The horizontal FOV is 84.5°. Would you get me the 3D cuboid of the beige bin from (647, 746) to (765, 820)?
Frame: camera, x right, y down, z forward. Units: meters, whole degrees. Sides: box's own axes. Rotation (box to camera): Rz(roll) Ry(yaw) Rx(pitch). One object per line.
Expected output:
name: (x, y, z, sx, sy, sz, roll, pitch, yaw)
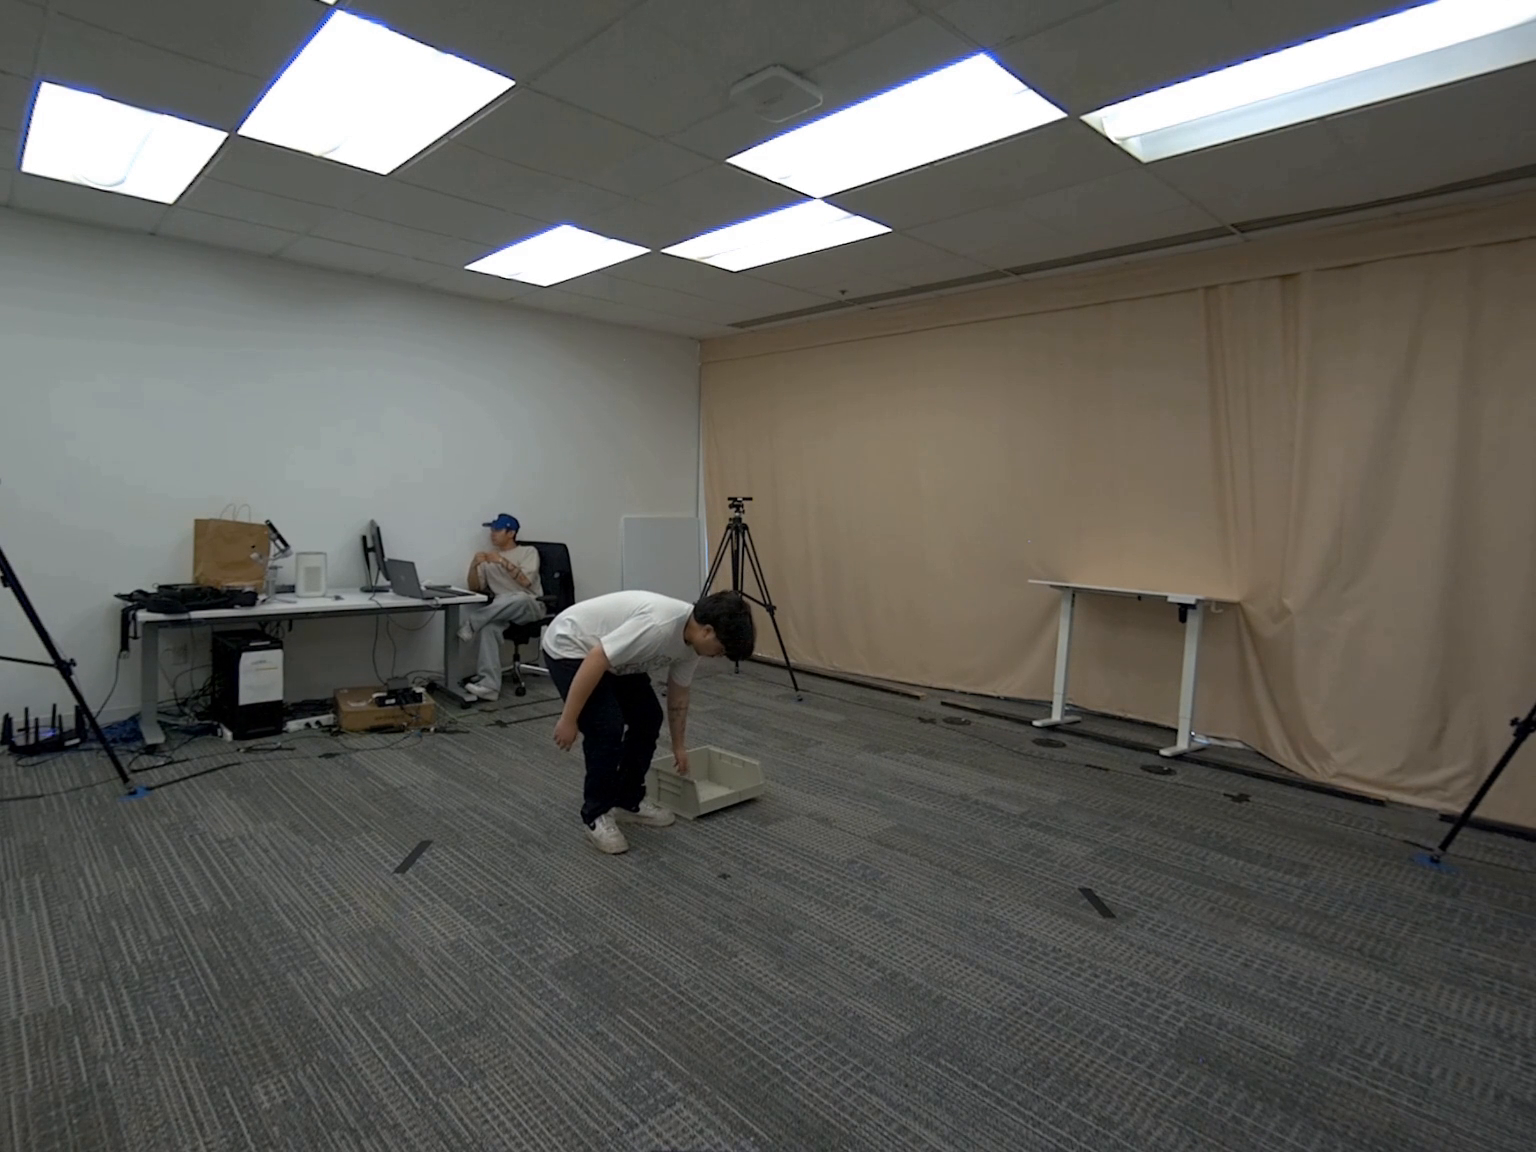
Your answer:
beige bin: (-0.303, 0.949, 3.885, 0.387, 0.188, 0.413, 5, 6, 43)
